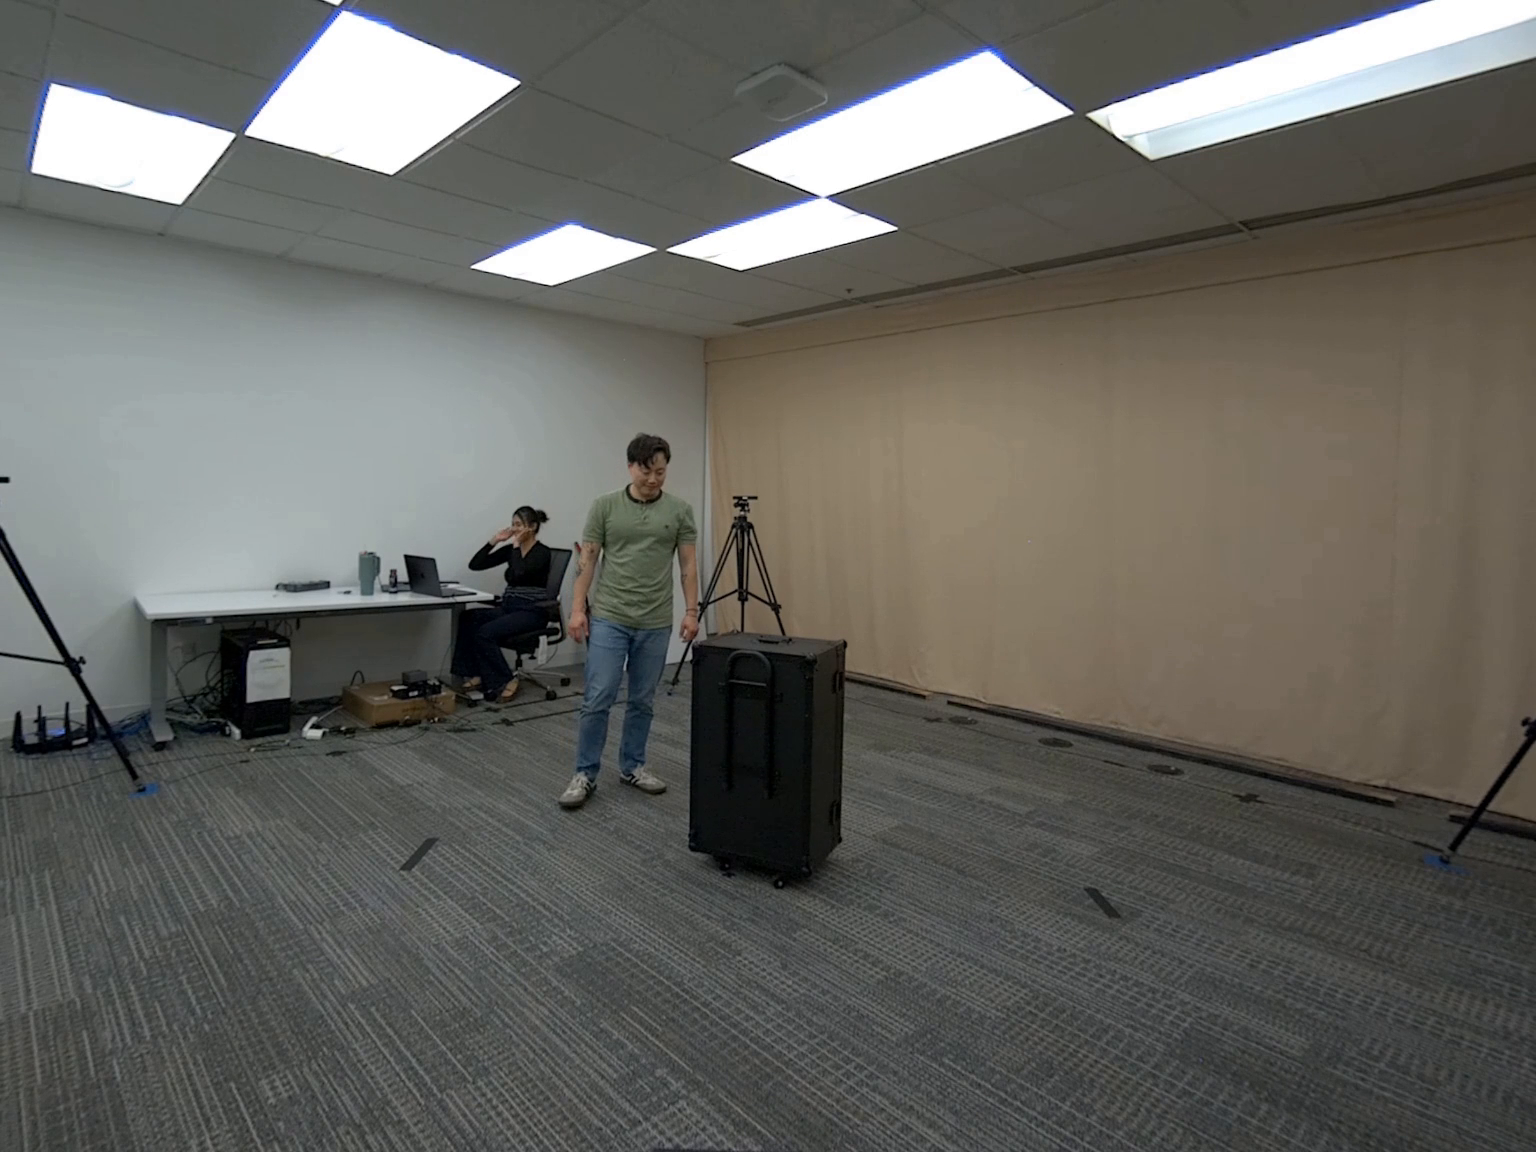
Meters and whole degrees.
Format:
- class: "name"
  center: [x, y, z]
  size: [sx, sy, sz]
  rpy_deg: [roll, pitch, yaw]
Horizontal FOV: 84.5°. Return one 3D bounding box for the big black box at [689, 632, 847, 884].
- class: "big black box"
  center: [-0.005, 0.673, 3.165]
  size: [0.531, 0.859, 0.389]
  rpy_deg: [3, 4, 25]
